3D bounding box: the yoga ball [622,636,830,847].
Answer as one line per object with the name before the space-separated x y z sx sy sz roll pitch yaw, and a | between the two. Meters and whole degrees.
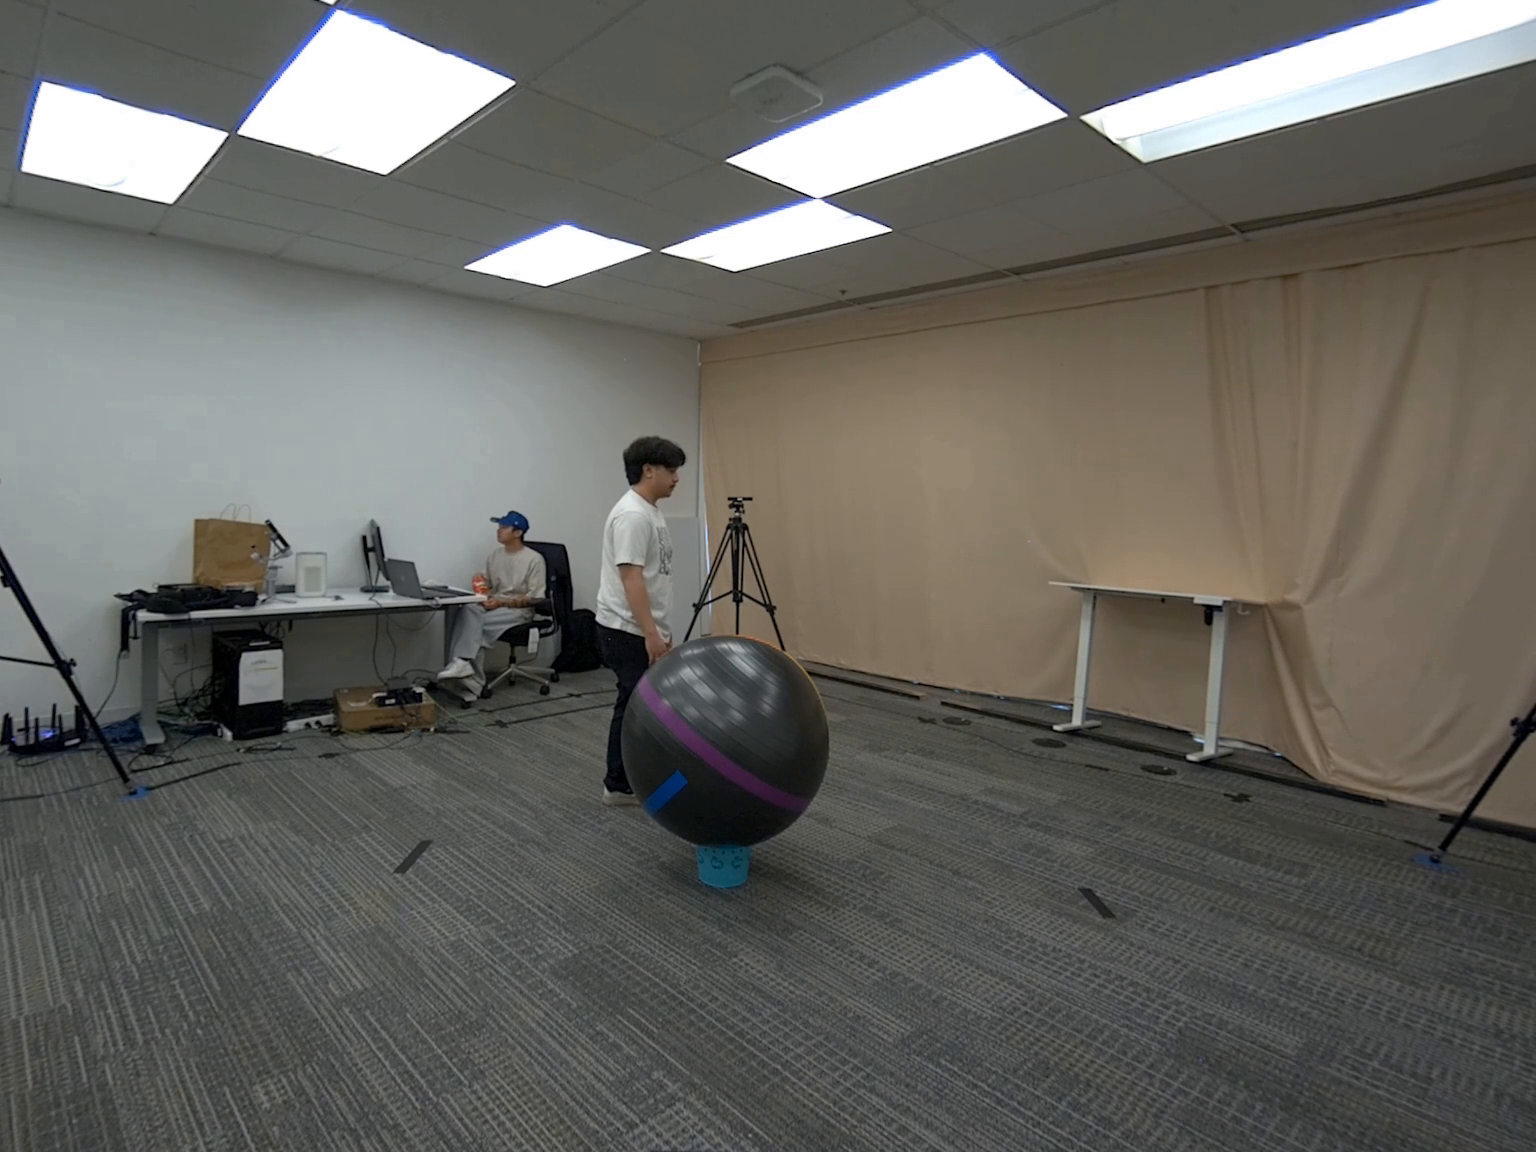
yoga ball | -0.158 0.598 3.085 0.757 0.756 0.761 1 4 -1
